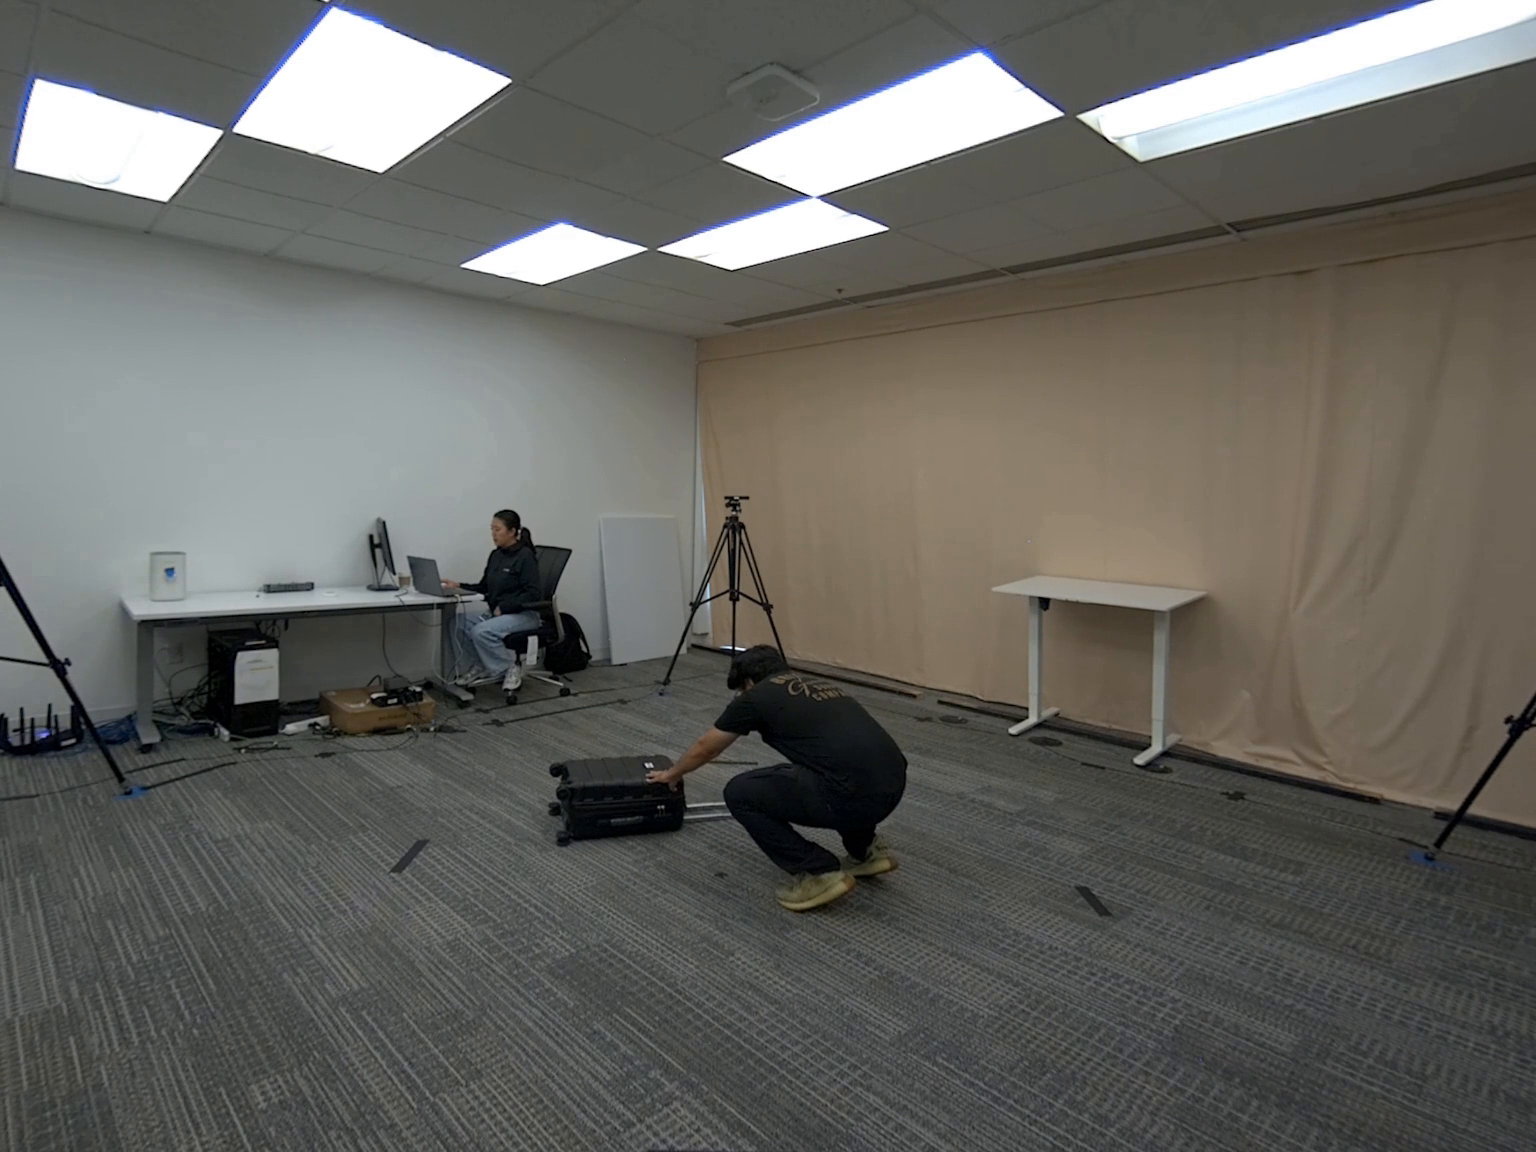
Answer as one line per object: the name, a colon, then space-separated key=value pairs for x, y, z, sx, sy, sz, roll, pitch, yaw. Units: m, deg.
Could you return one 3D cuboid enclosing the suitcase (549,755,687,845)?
suitcase: x=-0.447 y=0.922 z=3.635 sx=0.965 sy=0.256 sz=0.390 roll=-2 pitch=5 yaw=-19
